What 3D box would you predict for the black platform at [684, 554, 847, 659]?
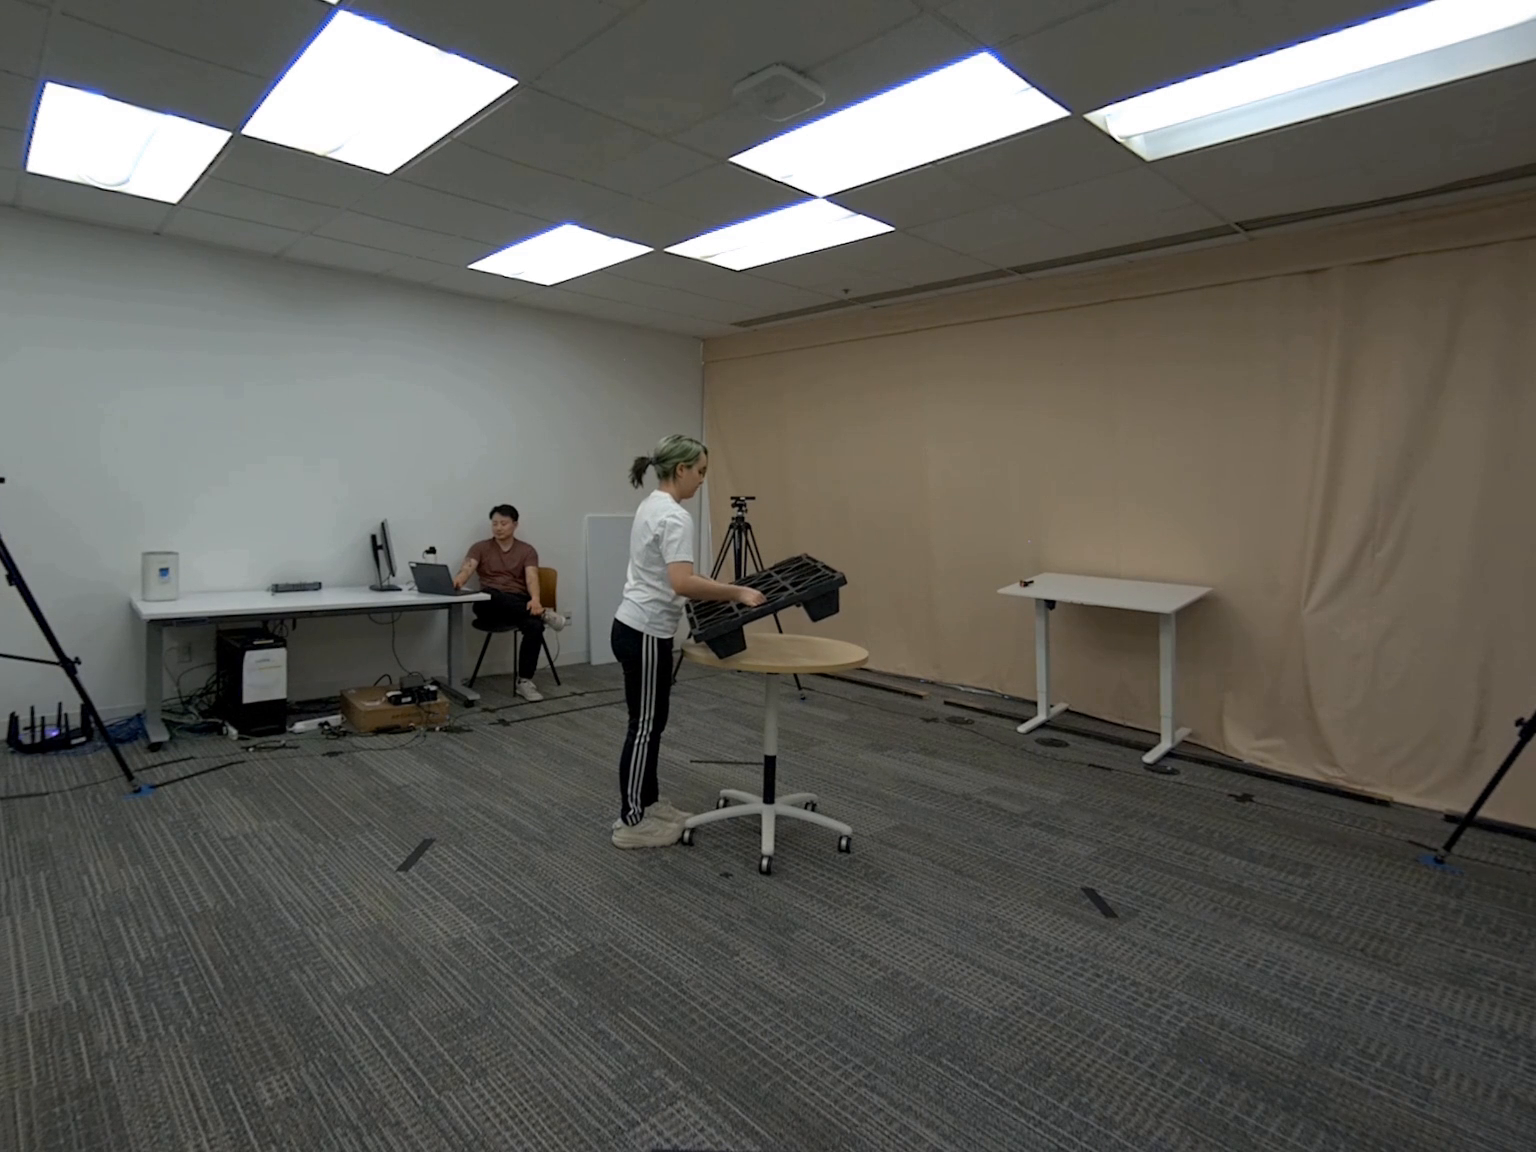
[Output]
[{"bbox_3d":[-0.039,0.116,3.420,0.604,0.142,0.814,-22,10,-4],"label":"black platform"}]
